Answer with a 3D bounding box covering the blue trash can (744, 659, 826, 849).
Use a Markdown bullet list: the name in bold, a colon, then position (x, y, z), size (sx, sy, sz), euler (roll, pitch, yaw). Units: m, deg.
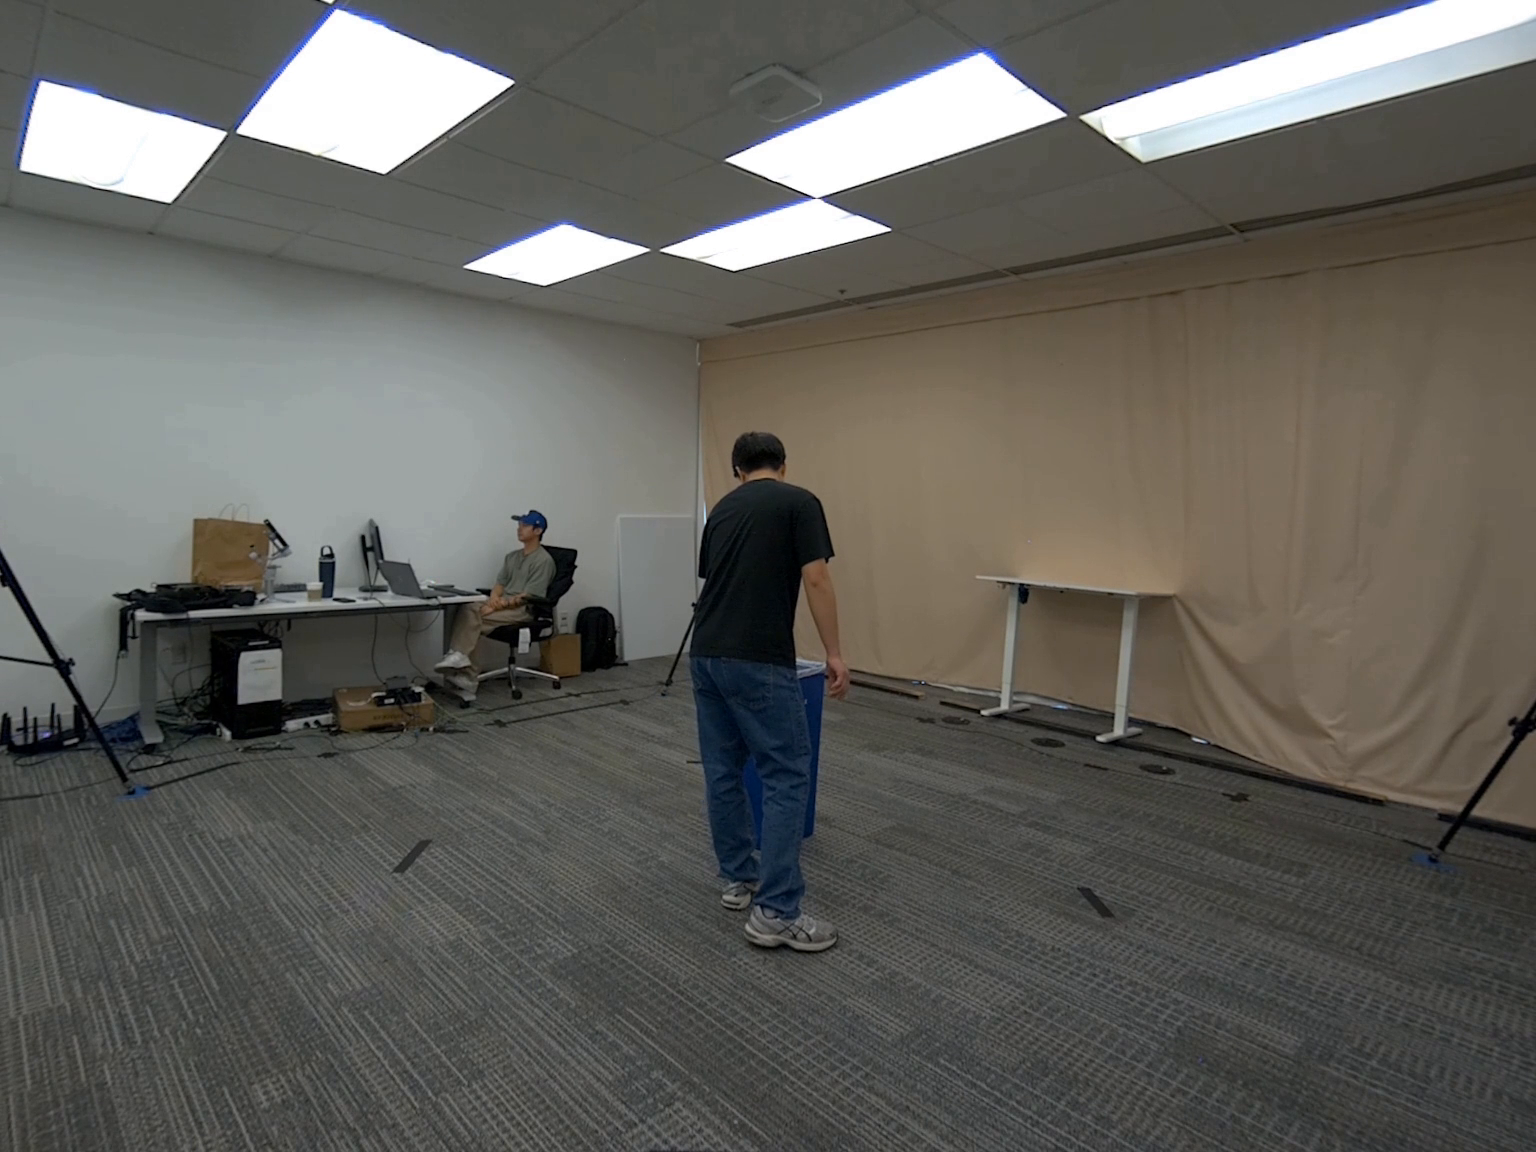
- **blue trash can**: position (-0.003, 0.721, 3.509), size (0.388, 0.712, 0.365), euler (5, 5, 41)
